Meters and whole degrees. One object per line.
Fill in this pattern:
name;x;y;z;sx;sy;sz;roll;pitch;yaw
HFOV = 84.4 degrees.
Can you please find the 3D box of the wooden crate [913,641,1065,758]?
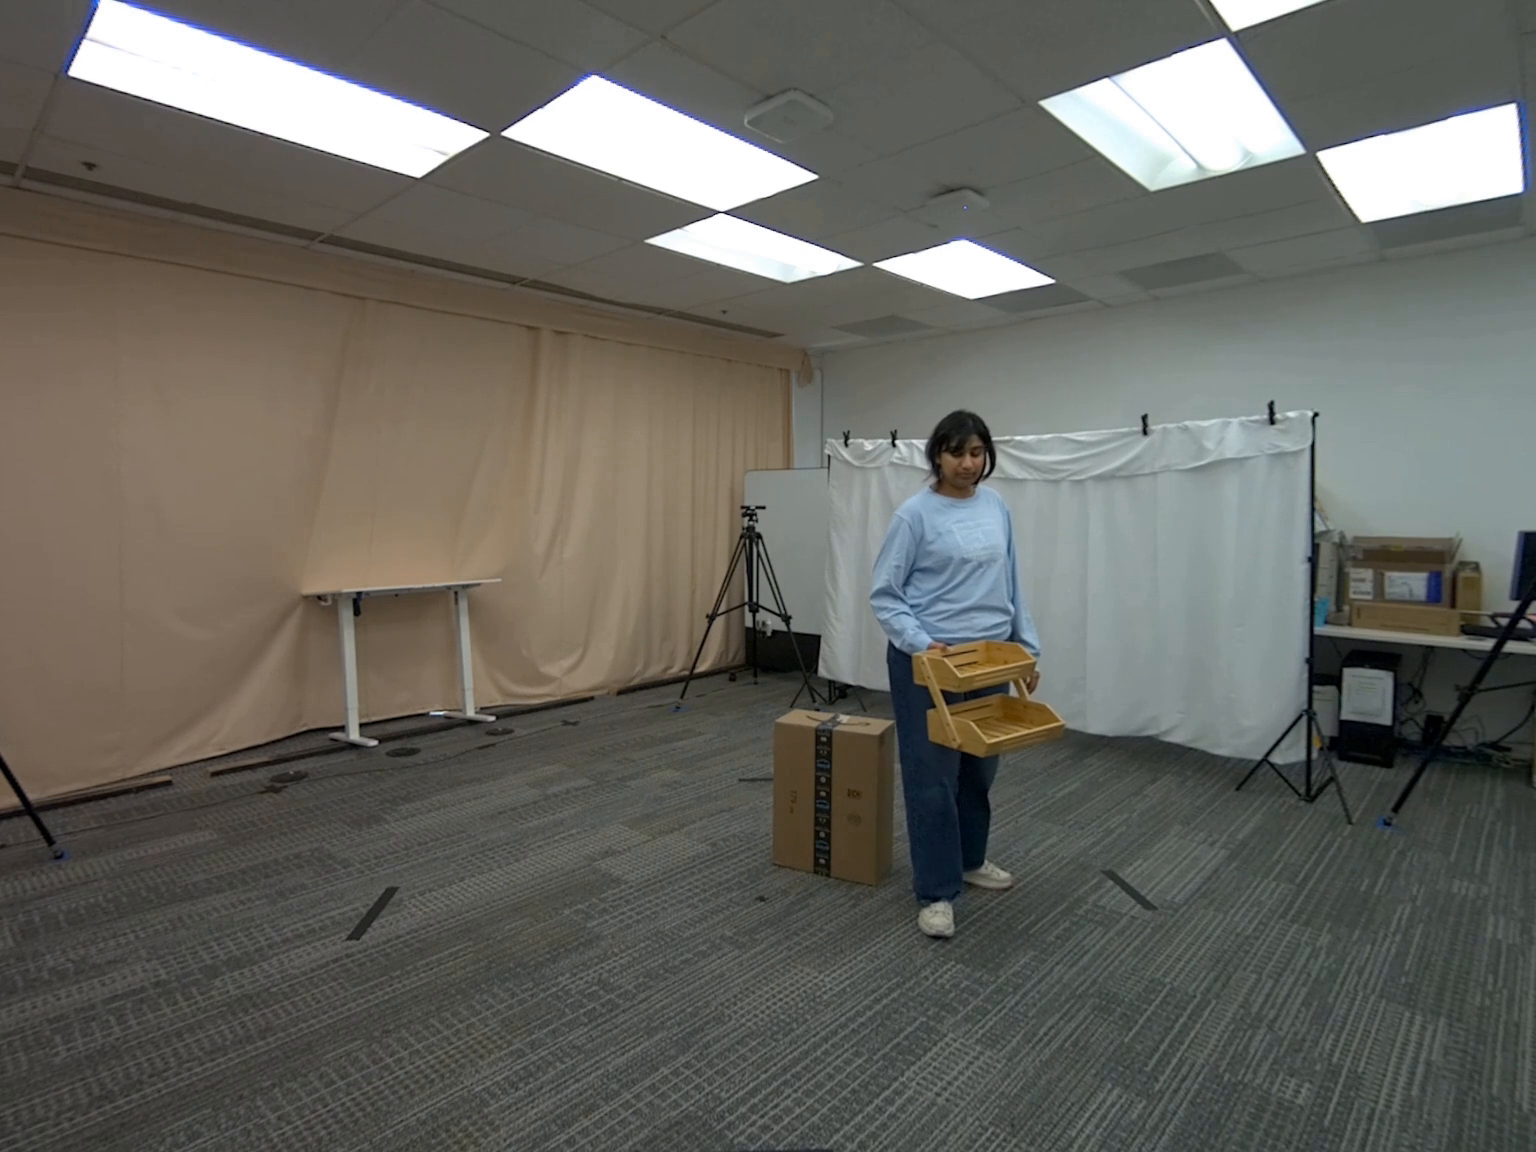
wooden crate;0.662;0.350;2.522;0.317;0.273;0.310;-6;4;-27
